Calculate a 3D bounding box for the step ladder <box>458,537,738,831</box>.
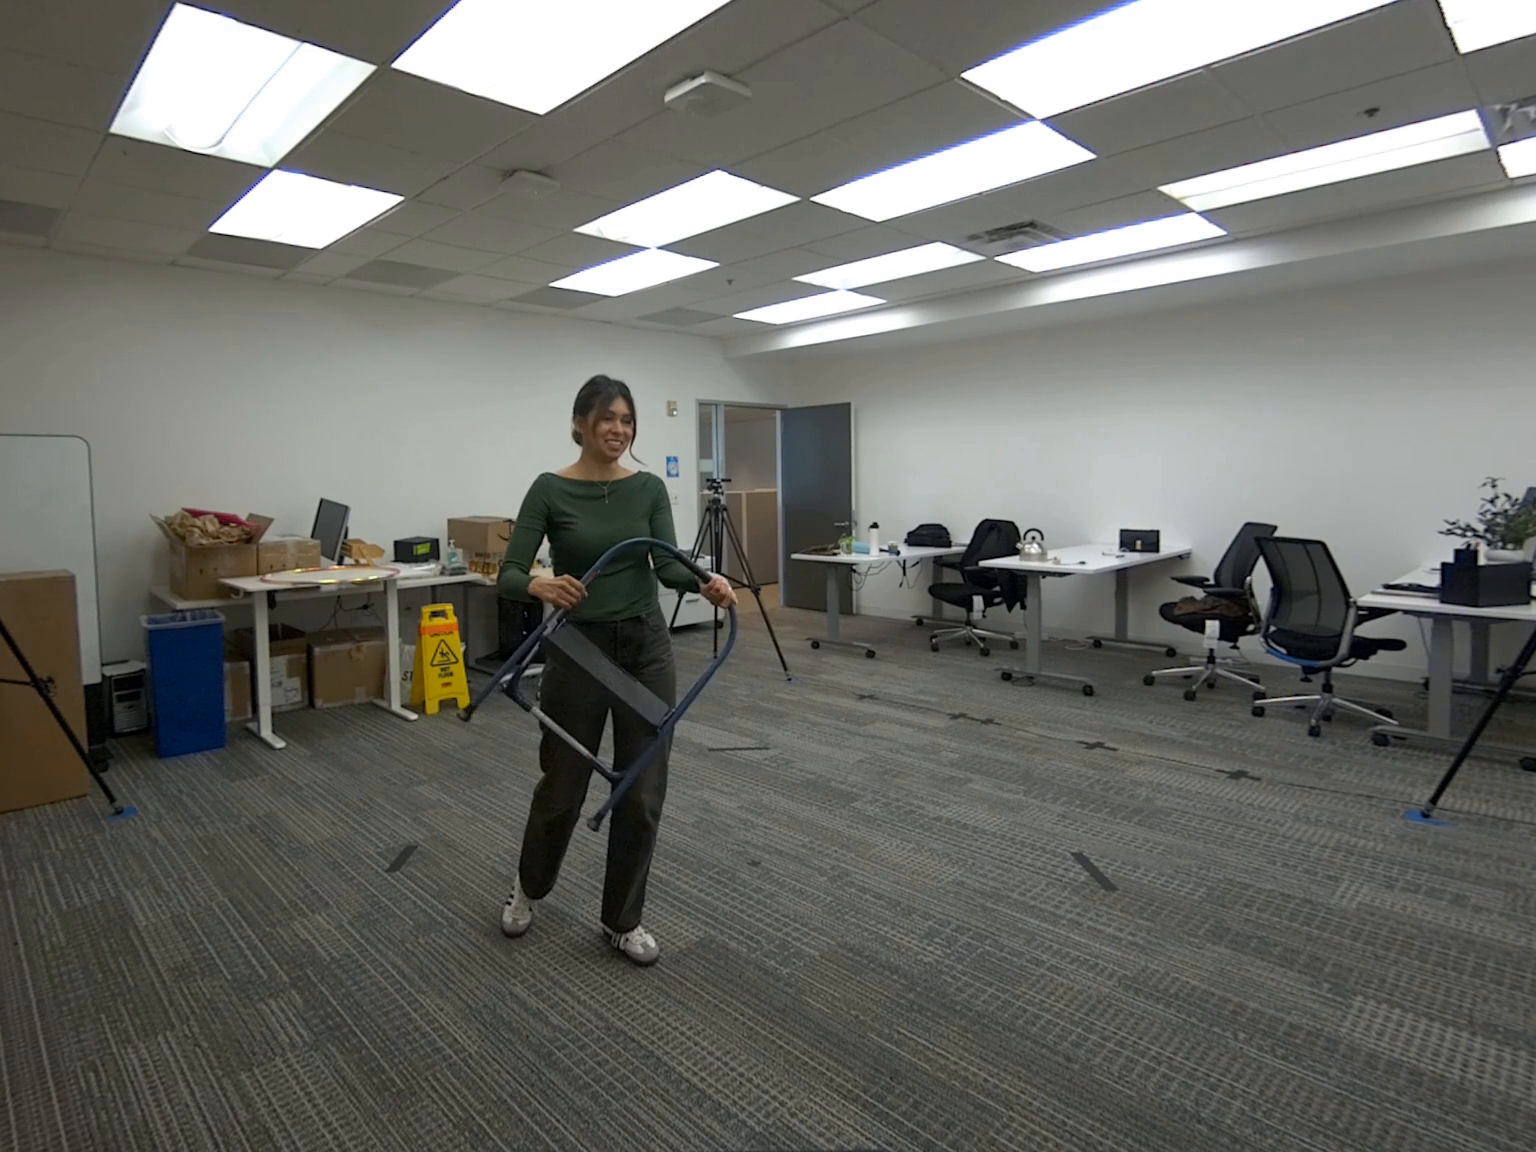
[{"bbox_3d":[-0.372,0.216,2.134,0.432,0.606,0.349,39,2,1],"label":"step ladder"}]
